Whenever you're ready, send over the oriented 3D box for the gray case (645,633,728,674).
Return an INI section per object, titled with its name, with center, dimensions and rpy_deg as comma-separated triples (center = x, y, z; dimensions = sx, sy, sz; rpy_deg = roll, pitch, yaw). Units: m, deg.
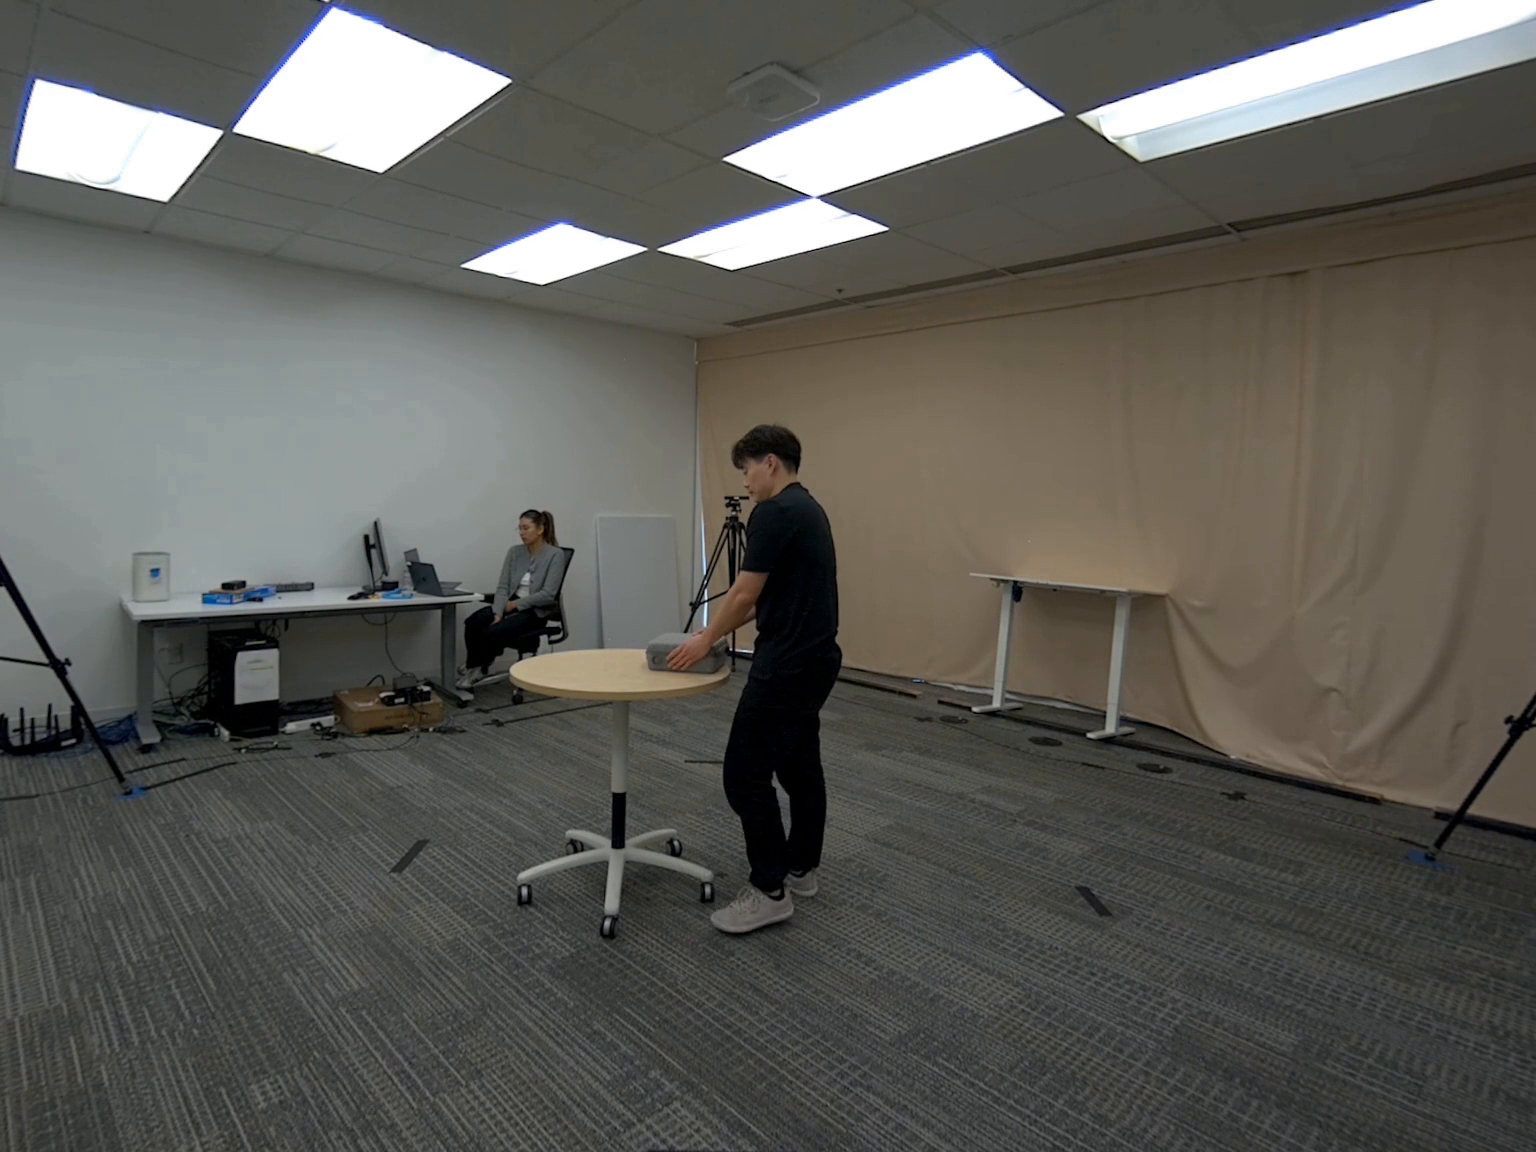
[gray case]
center = -0.297, 0.275, 3.022
dimensions = 0.263, 0.104, 0.255
rpy_deg = 2, 6, 10
